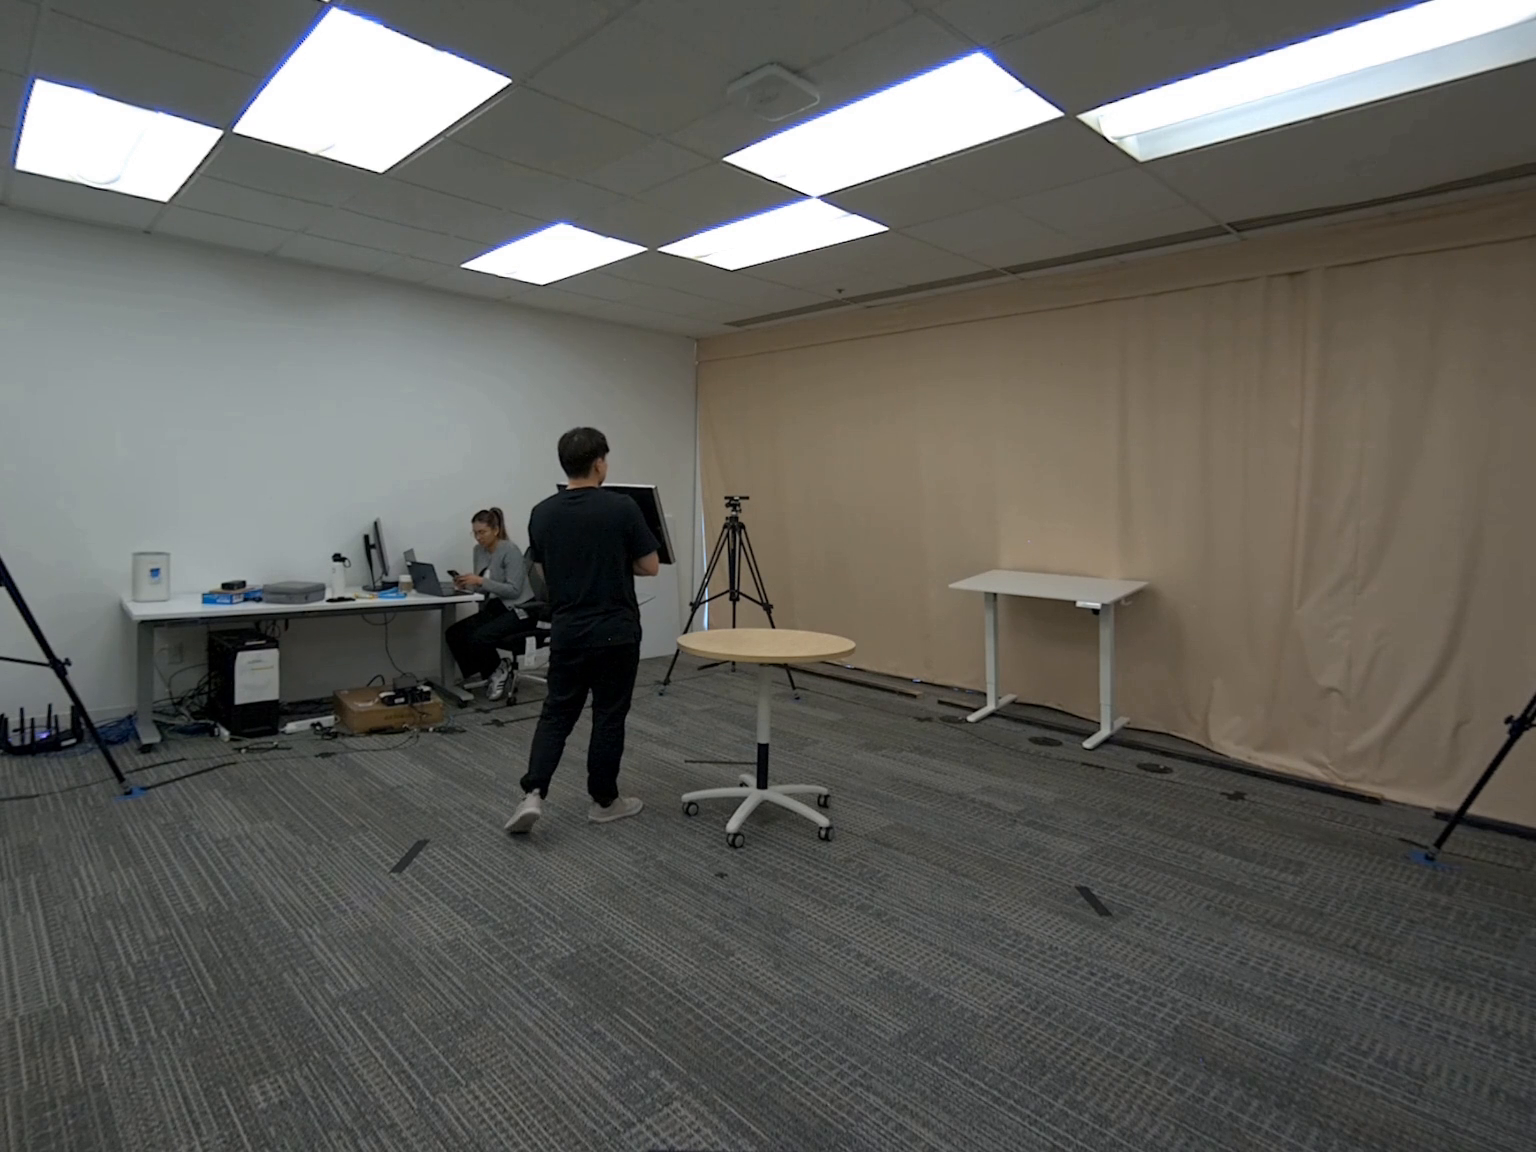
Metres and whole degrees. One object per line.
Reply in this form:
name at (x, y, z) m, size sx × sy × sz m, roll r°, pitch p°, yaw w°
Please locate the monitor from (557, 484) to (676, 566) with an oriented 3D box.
monitor at (-0.686, -0.141, 3.678) m, size 0.552 × 0.517 × 0.185 m, roll 6°, pitch 17°, yaw 33°
